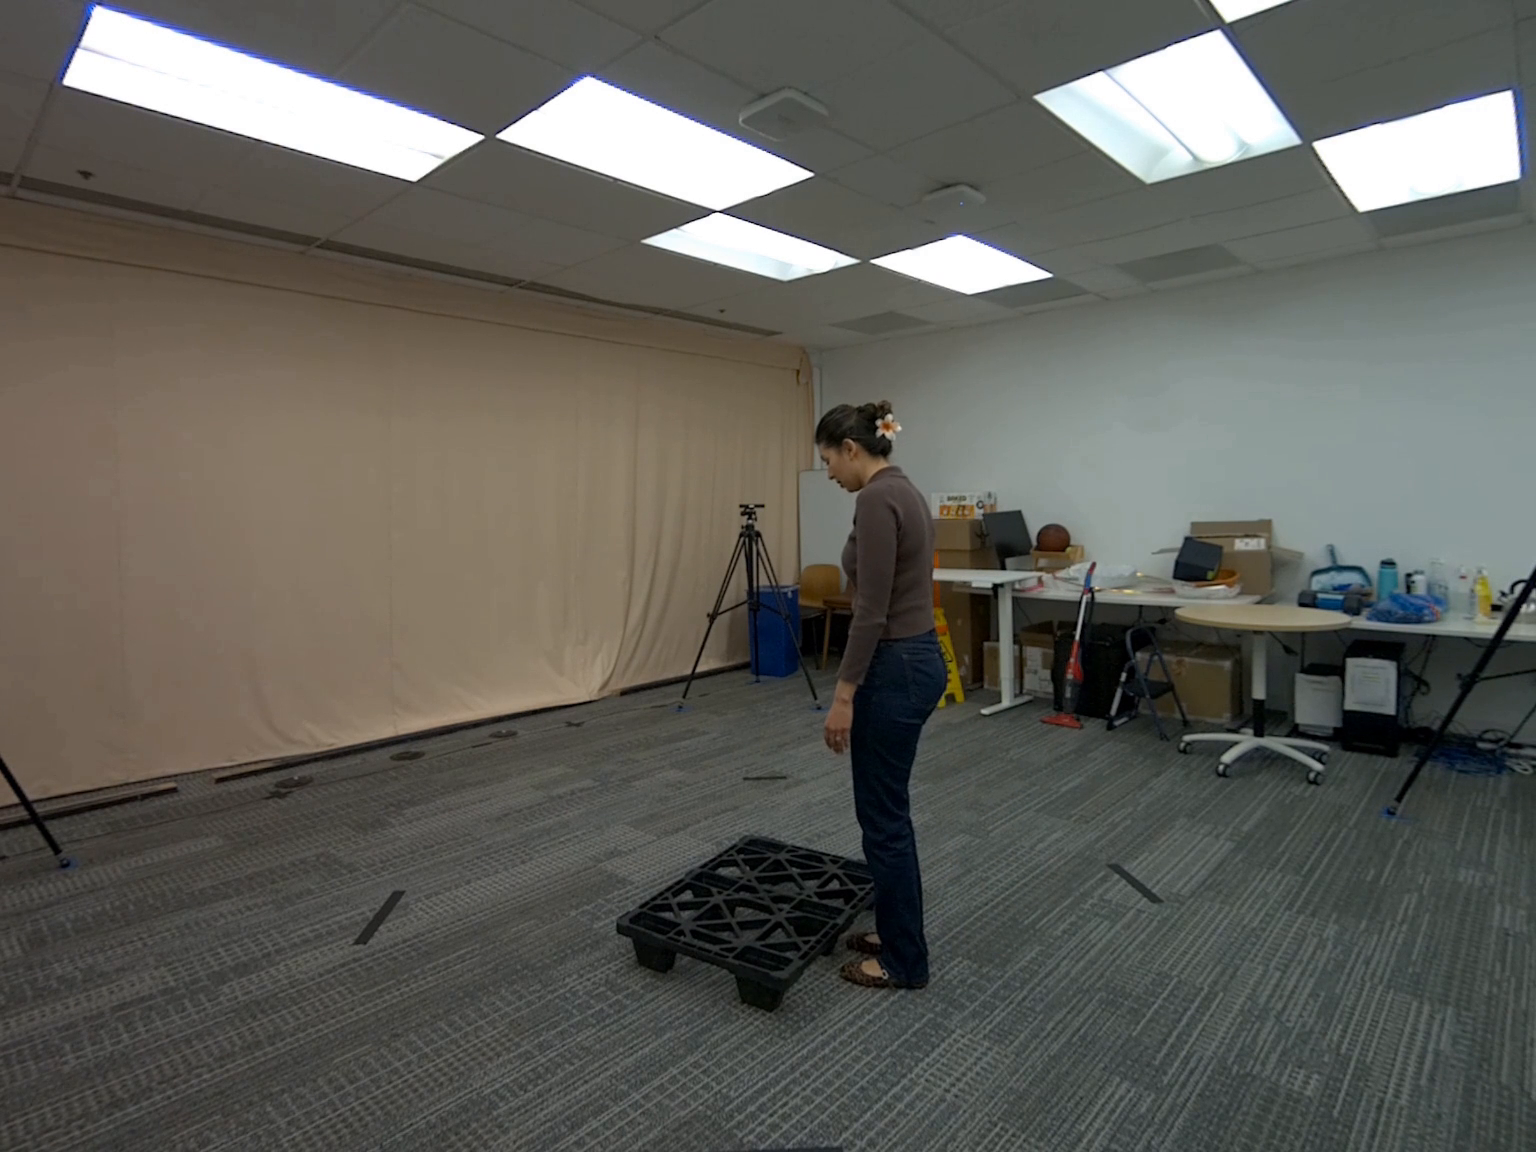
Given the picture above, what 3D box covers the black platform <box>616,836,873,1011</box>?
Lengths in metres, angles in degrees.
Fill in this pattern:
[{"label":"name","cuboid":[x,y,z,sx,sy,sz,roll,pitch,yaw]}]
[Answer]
[{"label":"black platform","cuboid":[-0.015,1.095,2.731,0.623,0.143,0.784,1,5,31]}]
